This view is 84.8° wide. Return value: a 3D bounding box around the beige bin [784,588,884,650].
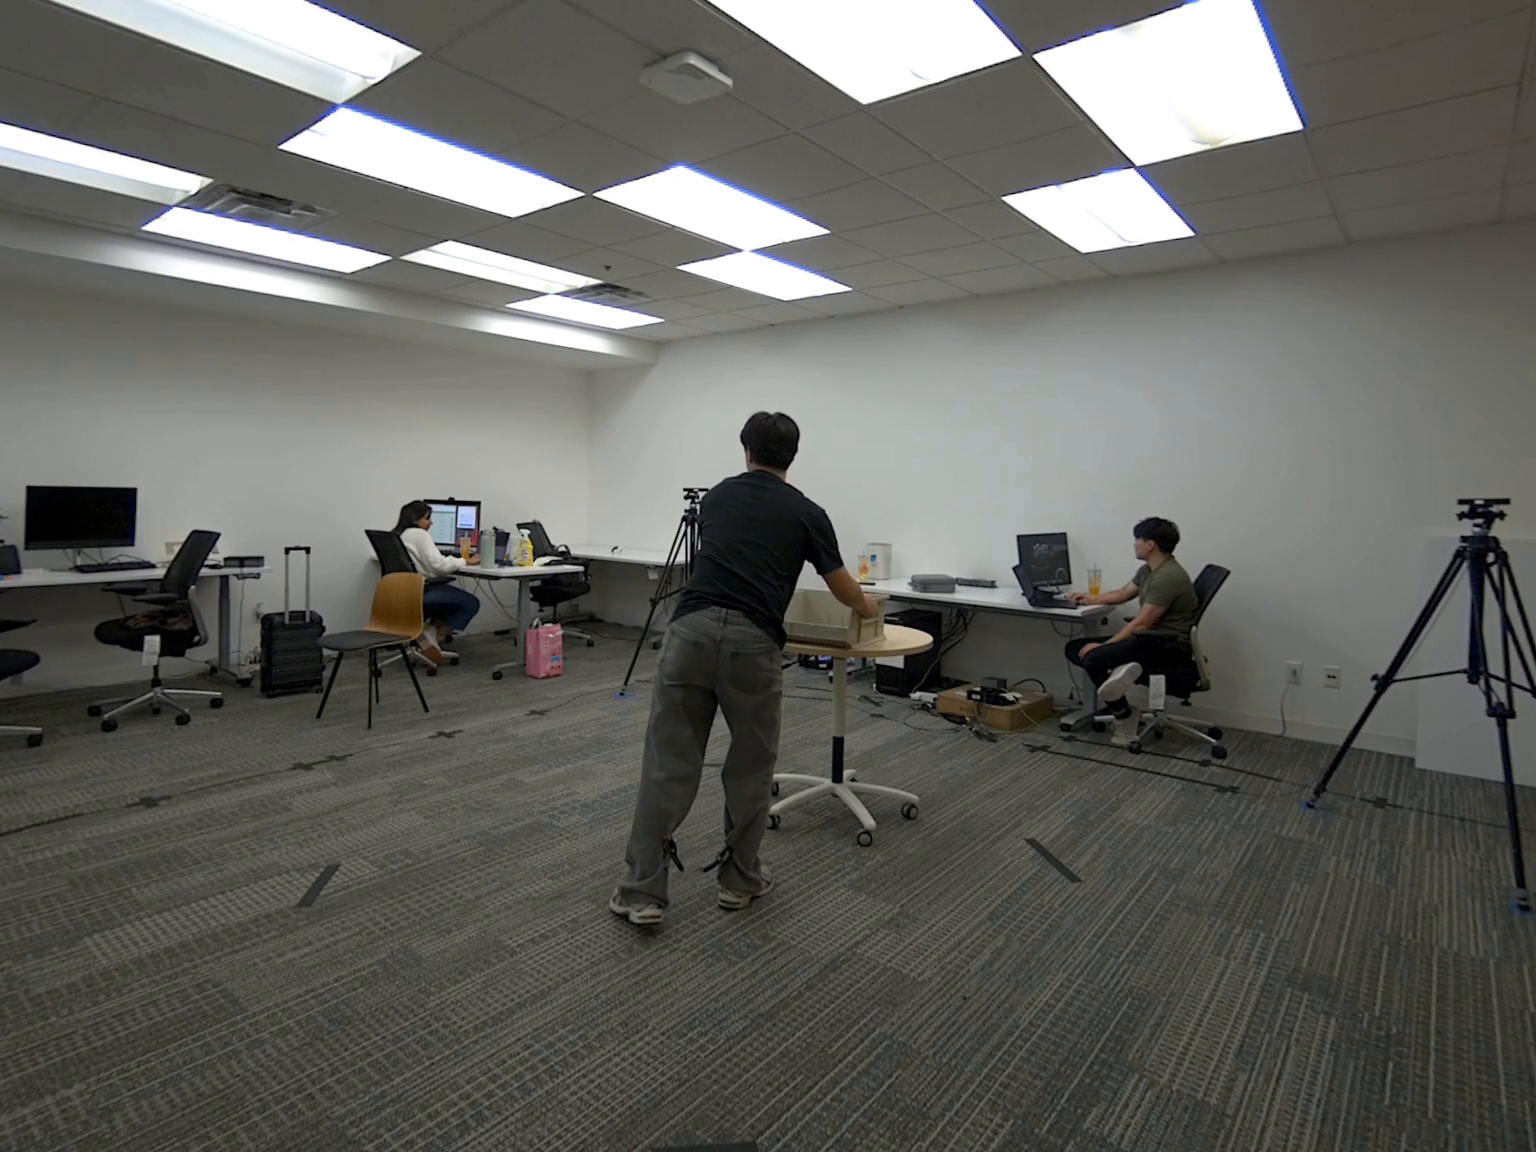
[{"bbox_3d":[0.224,0.169,3.508,0.435,0.188,0.367,4,5,33],"label":"beige bin"}]
